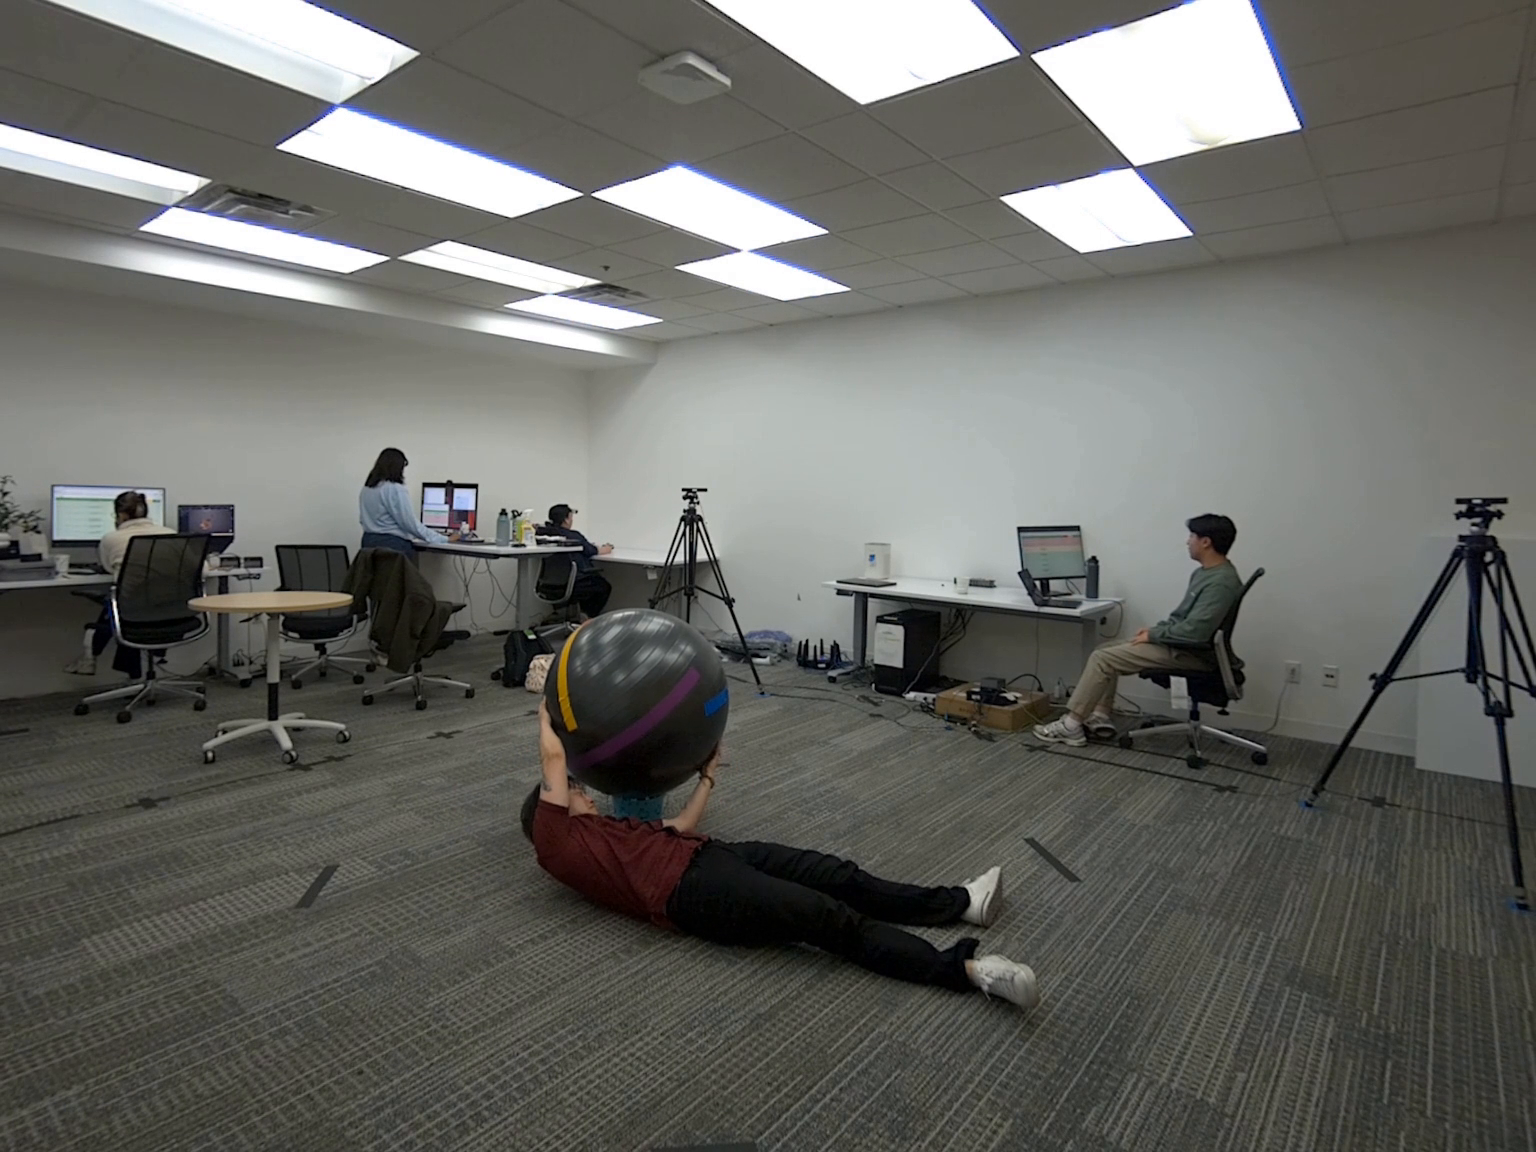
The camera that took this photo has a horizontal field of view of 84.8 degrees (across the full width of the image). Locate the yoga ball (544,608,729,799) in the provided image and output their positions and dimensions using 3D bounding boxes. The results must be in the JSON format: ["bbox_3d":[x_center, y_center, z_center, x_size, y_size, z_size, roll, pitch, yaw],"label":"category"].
[{"bbox_3d":[-0.542,0.512,3.479,0.757,0.755,0.762,1,4,-2],"label":"yoga ball"}]
